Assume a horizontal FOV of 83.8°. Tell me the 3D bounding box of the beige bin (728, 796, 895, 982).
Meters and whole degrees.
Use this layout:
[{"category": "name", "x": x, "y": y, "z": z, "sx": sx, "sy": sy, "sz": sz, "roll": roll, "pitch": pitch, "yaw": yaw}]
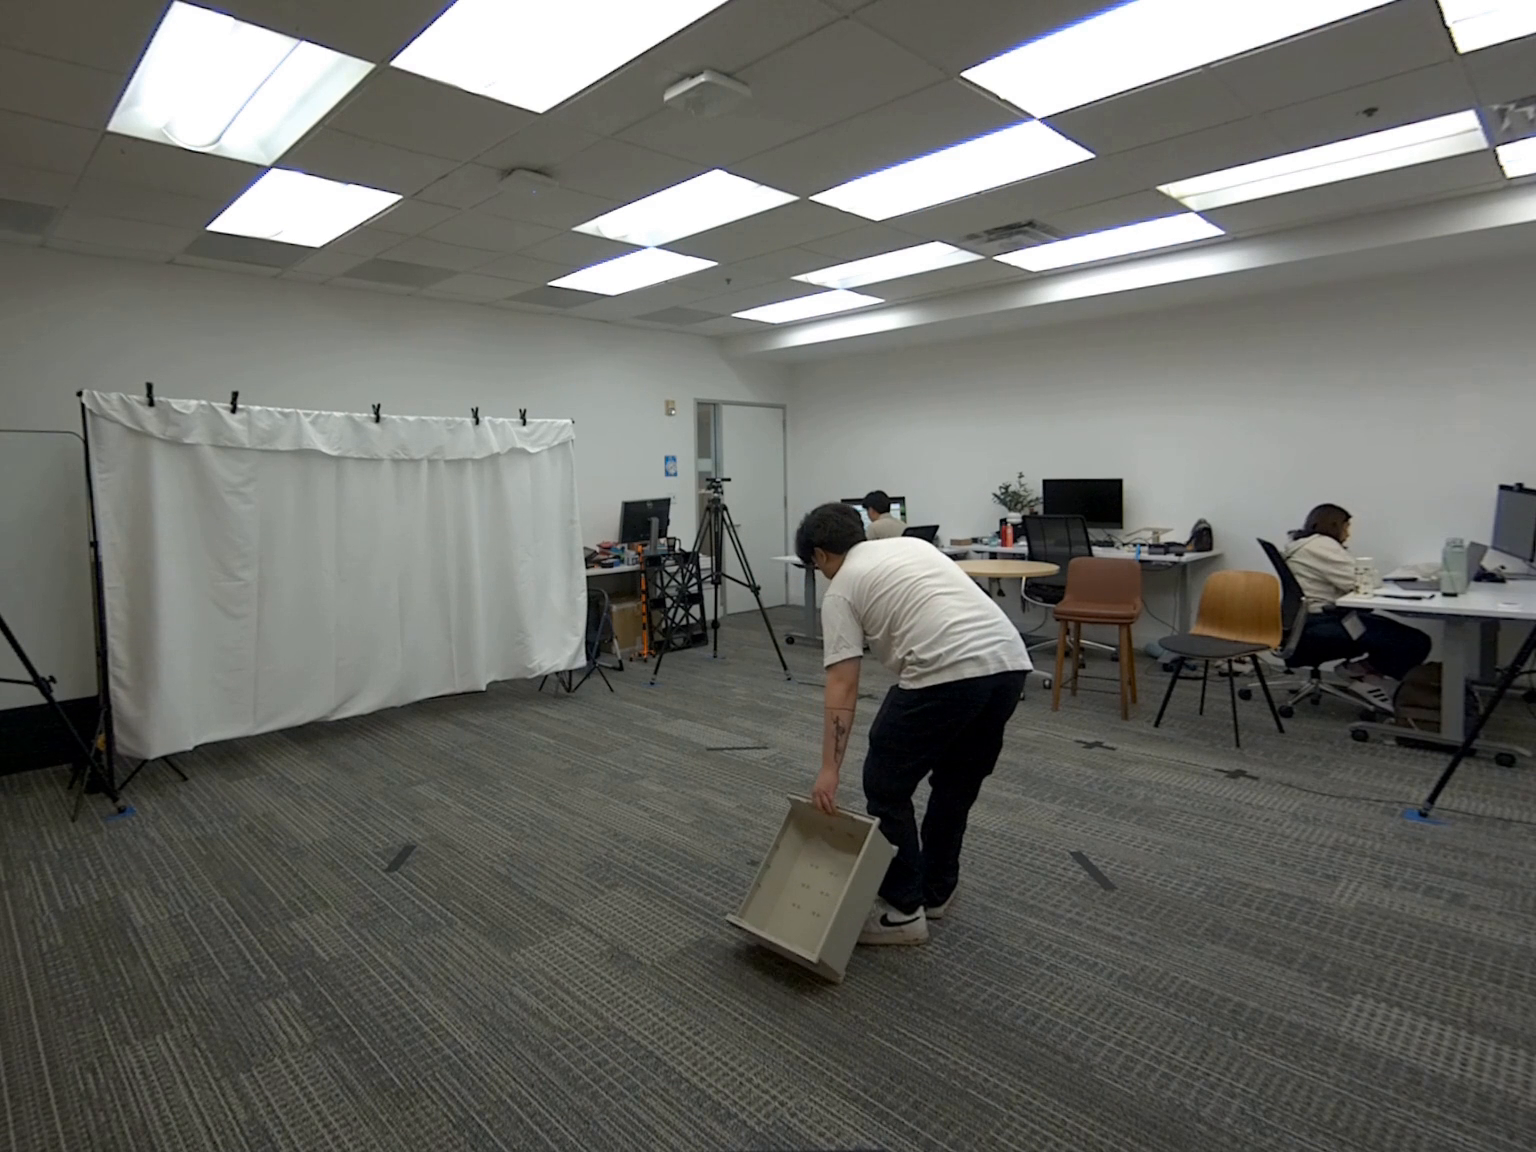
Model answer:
[{"category": "beige bin", "x": 0.126, "y": 0.900, "z": 2.518, "sx": 0.389, "sy": 0.424, "sz": 0.182, "roll": 5, "pitch": -38, "yaw": 42}]
